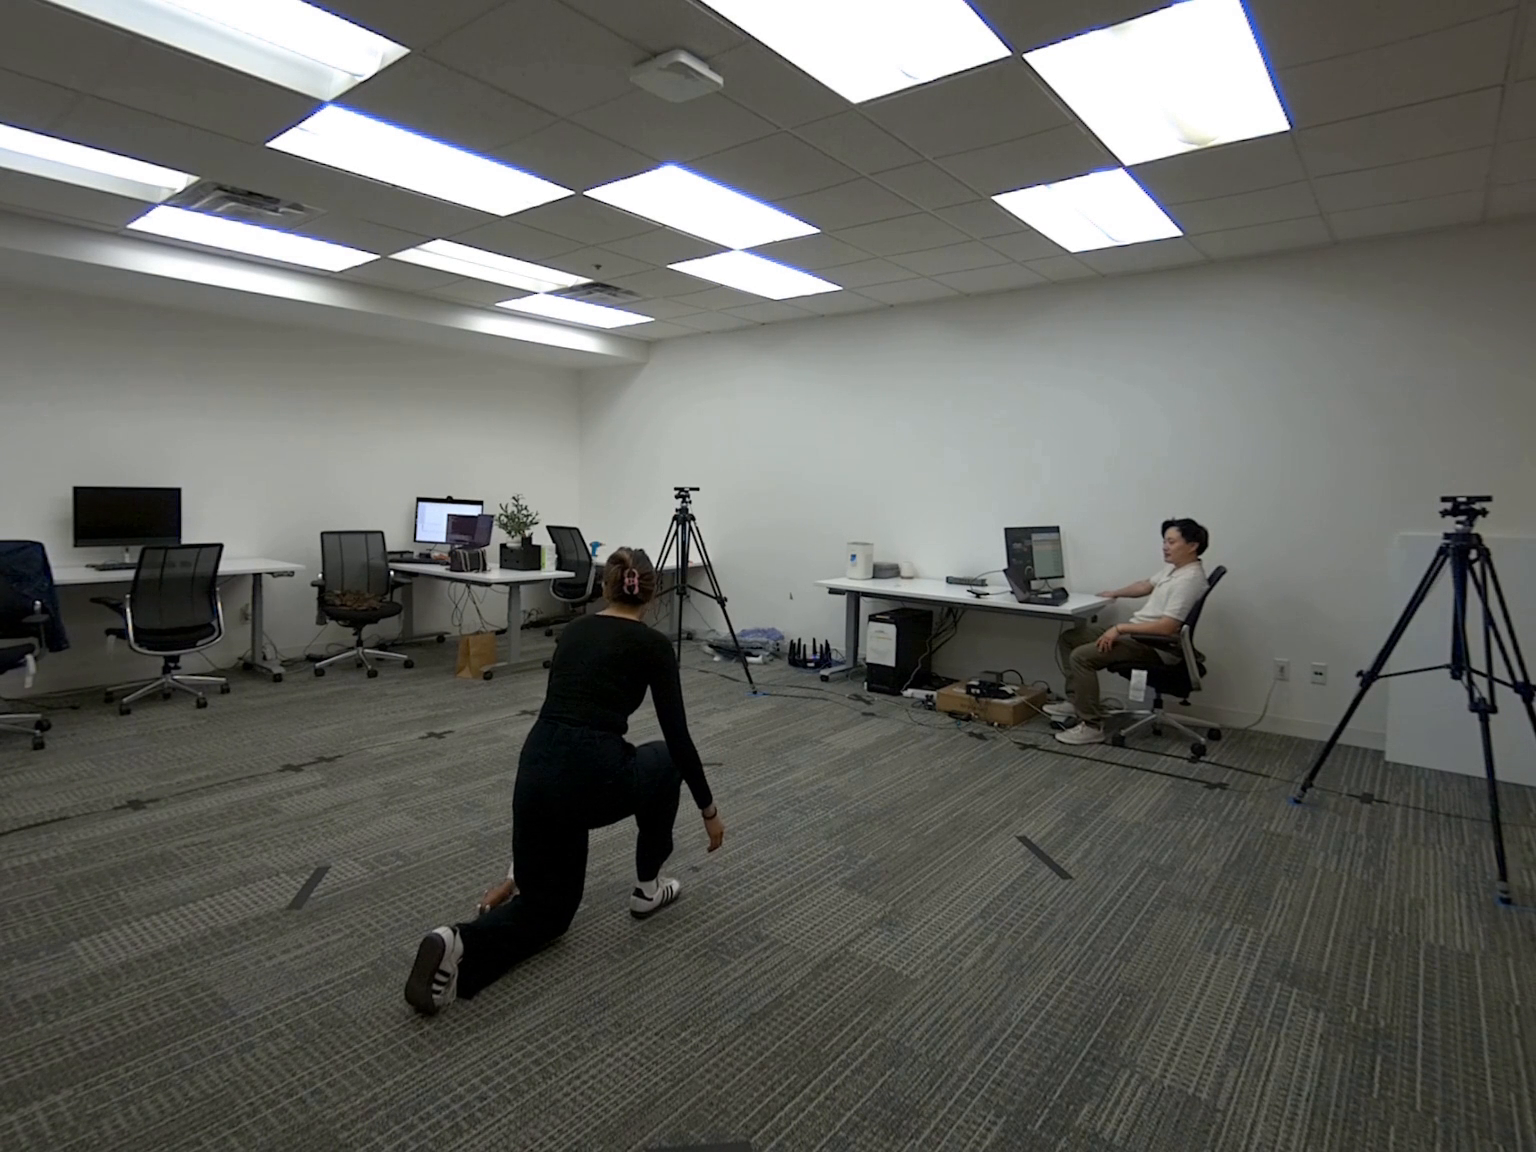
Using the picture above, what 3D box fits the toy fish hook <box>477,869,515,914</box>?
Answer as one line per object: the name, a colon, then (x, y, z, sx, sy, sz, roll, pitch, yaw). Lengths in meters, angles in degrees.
toy fish hook: (-0.838, 1.048, 2.952, 0.227, 0.048, 0.503, 0, 6, 9)
